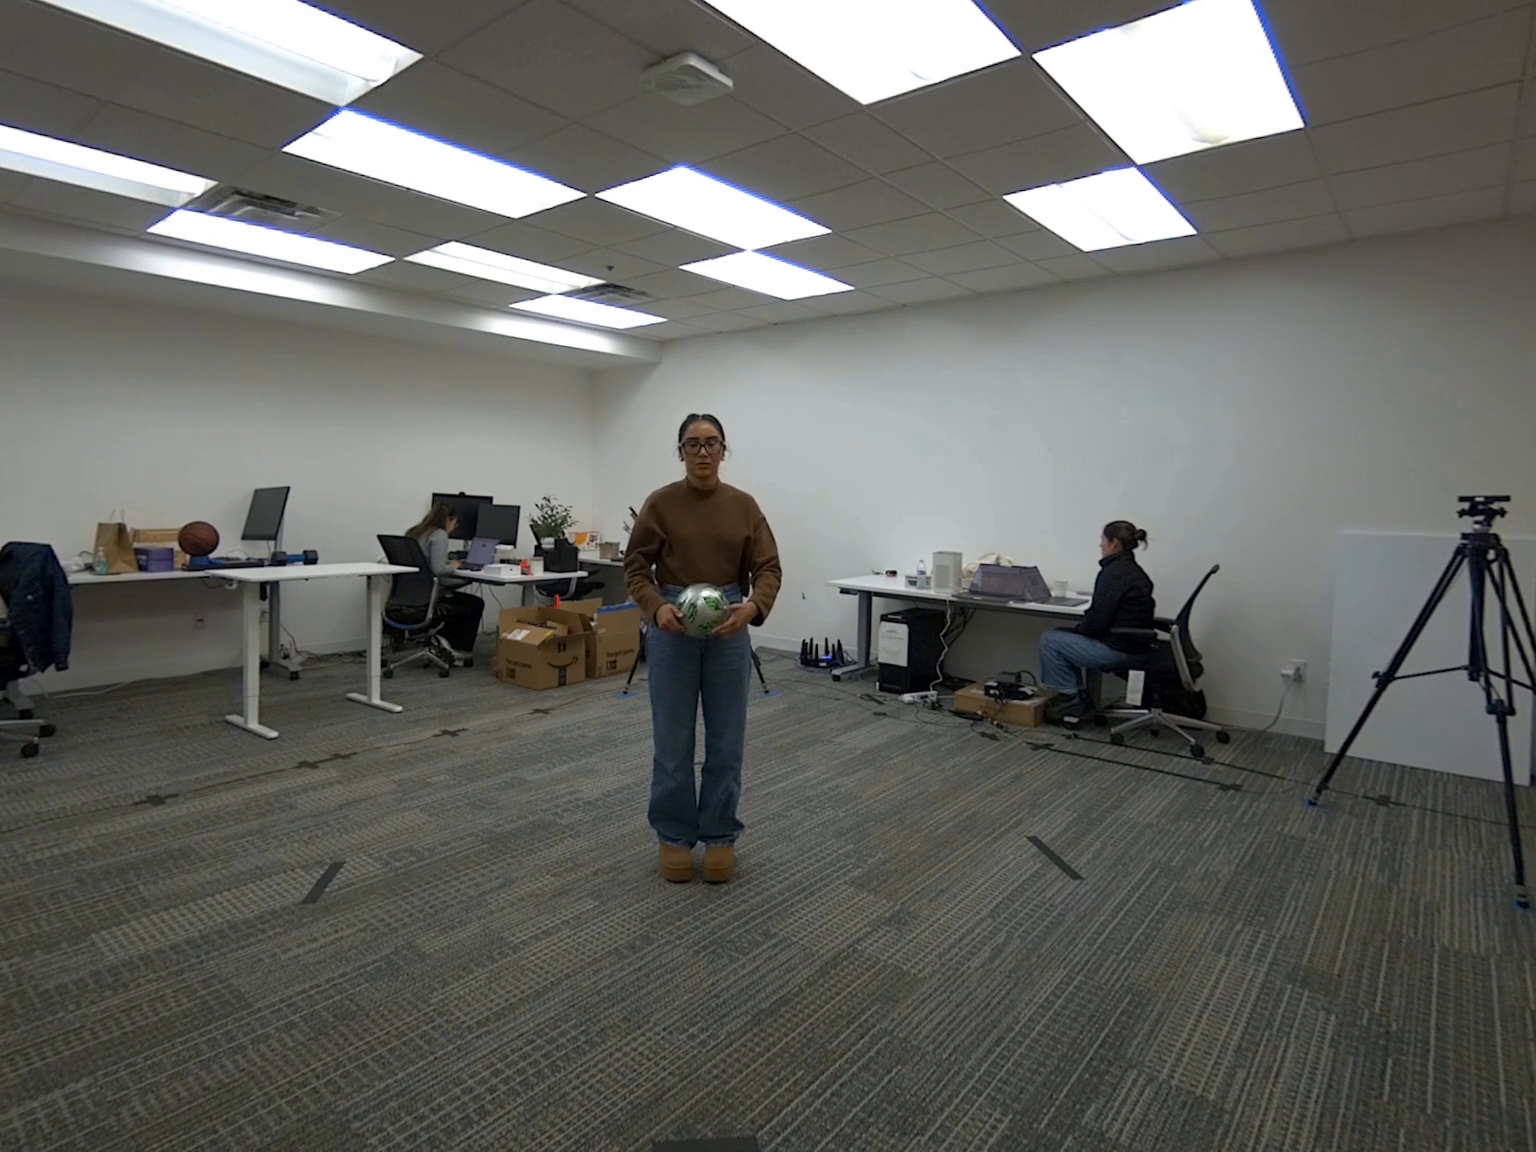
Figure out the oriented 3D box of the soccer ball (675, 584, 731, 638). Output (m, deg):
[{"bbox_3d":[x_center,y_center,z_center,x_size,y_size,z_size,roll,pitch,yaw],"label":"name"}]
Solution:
[{"bbox_3d":[-0.235,0.114,2.874,0.187,0.187,0.188,1,4,-2],"label":"soccer ball"}]
